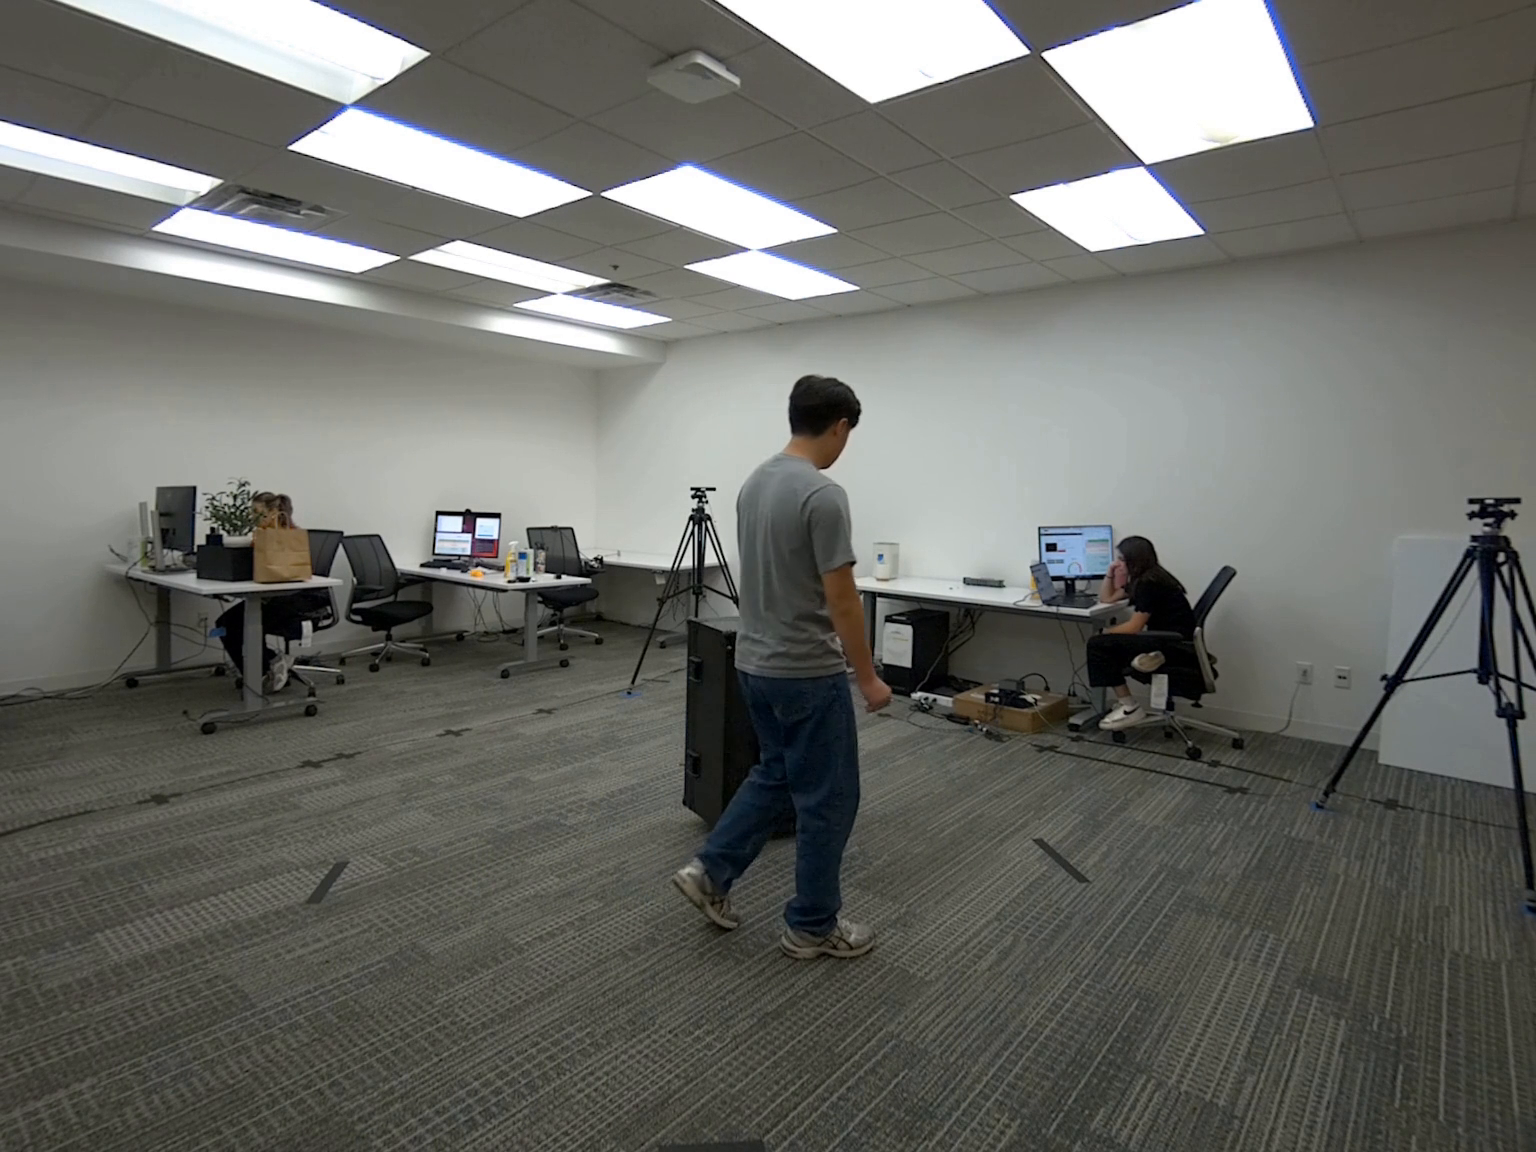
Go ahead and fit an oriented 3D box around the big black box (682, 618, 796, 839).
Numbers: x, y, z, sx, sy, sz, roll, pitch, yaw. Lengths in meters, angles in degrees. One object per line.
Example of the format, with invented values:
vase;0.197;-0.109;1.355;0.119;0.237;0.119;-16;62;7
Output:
big black box;-0.050;0.606;3.469;0.508;0.858;0.408;0;4;-28
